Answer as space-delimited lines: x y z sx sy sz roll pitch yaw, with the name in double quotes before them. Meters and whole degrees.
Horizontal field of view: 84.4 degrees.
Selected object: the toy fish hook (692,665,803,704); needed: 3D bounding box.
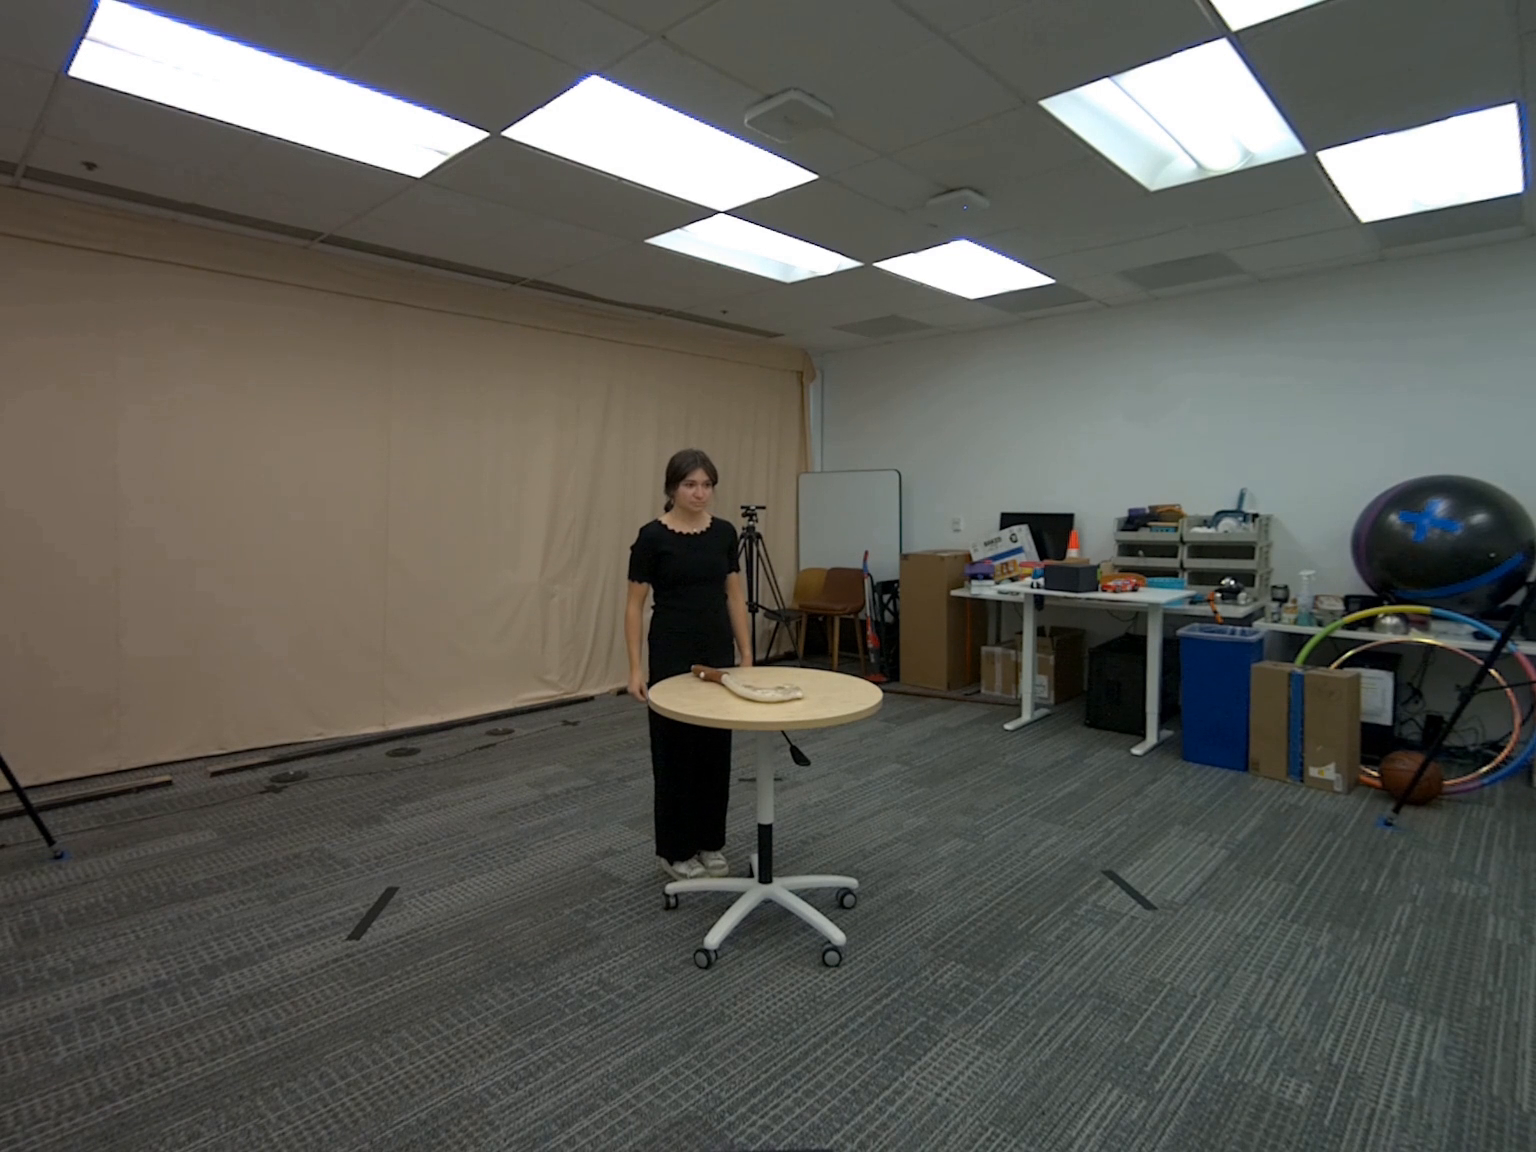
"toy fish hook" -0.071 0.361 2.823 0.218 0.048 0.523 5 2 -34
